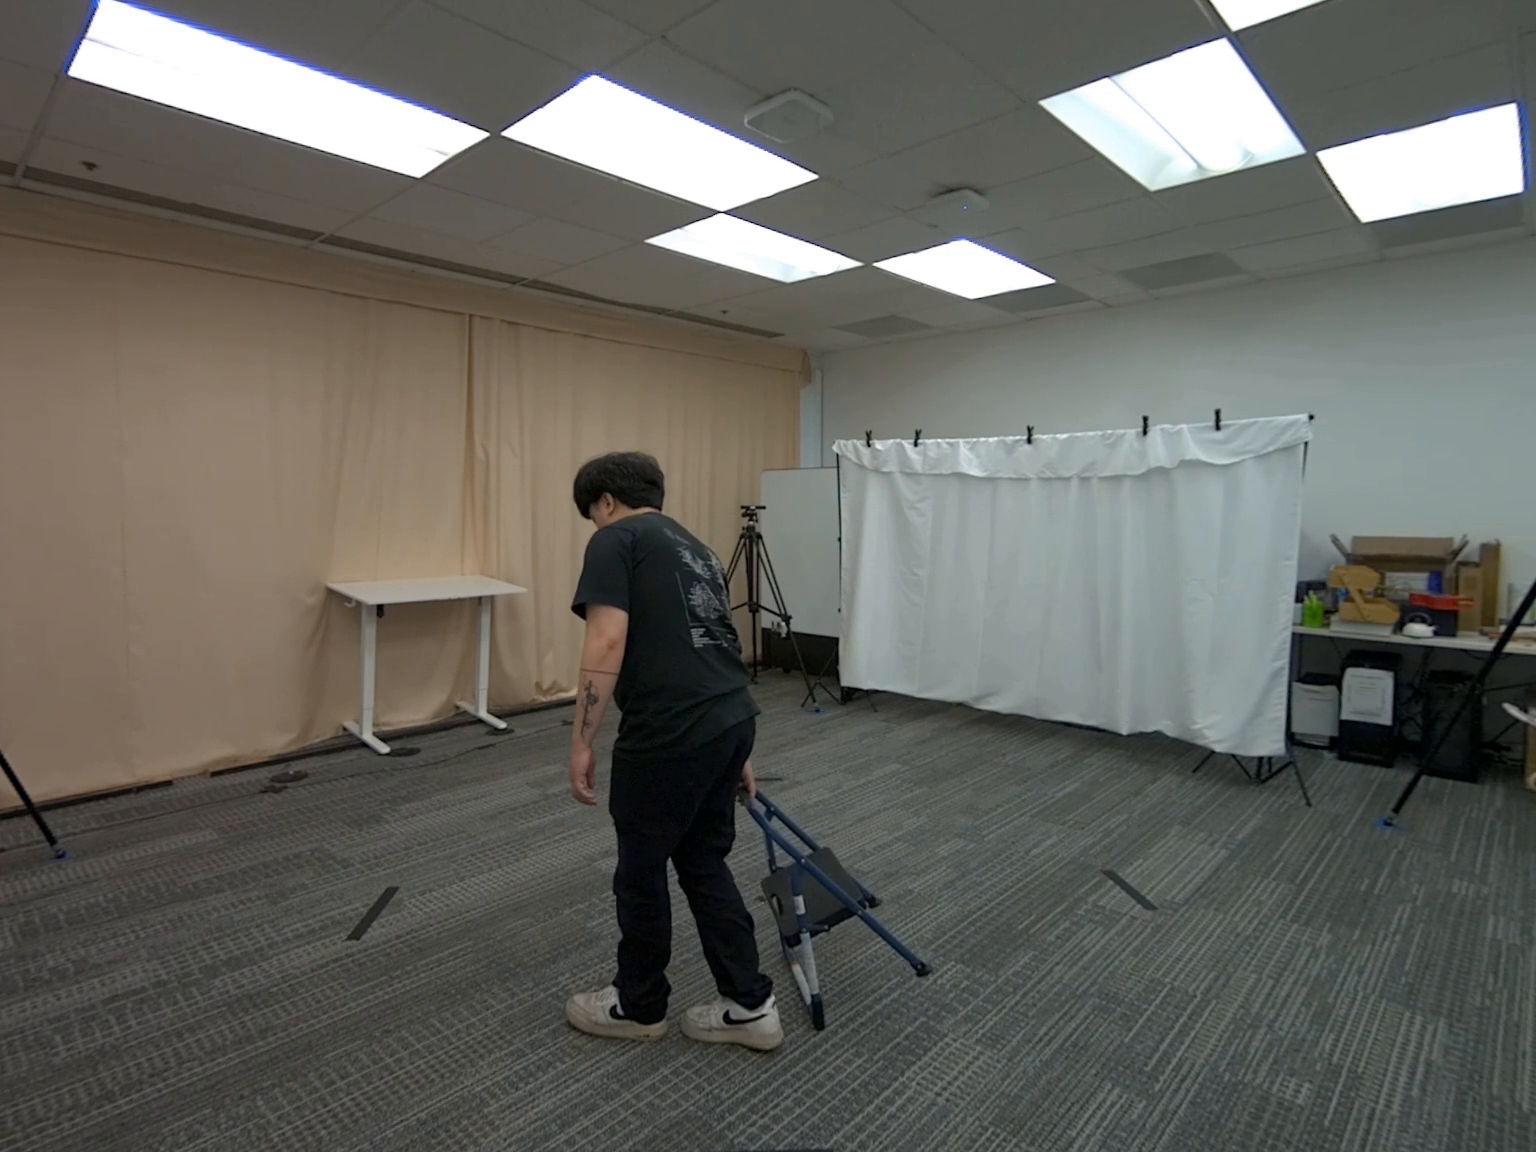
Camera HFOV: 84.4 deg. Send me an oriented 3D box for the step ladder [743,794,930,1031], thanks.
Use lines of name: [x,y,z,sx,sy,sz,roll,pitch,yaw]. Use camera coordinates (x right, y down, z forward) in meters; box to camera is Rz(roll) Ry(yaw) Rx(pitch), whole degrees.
step ladder: [0.119,0.854,2.414,0.347,0.602,0.436,-26,7,-9]
